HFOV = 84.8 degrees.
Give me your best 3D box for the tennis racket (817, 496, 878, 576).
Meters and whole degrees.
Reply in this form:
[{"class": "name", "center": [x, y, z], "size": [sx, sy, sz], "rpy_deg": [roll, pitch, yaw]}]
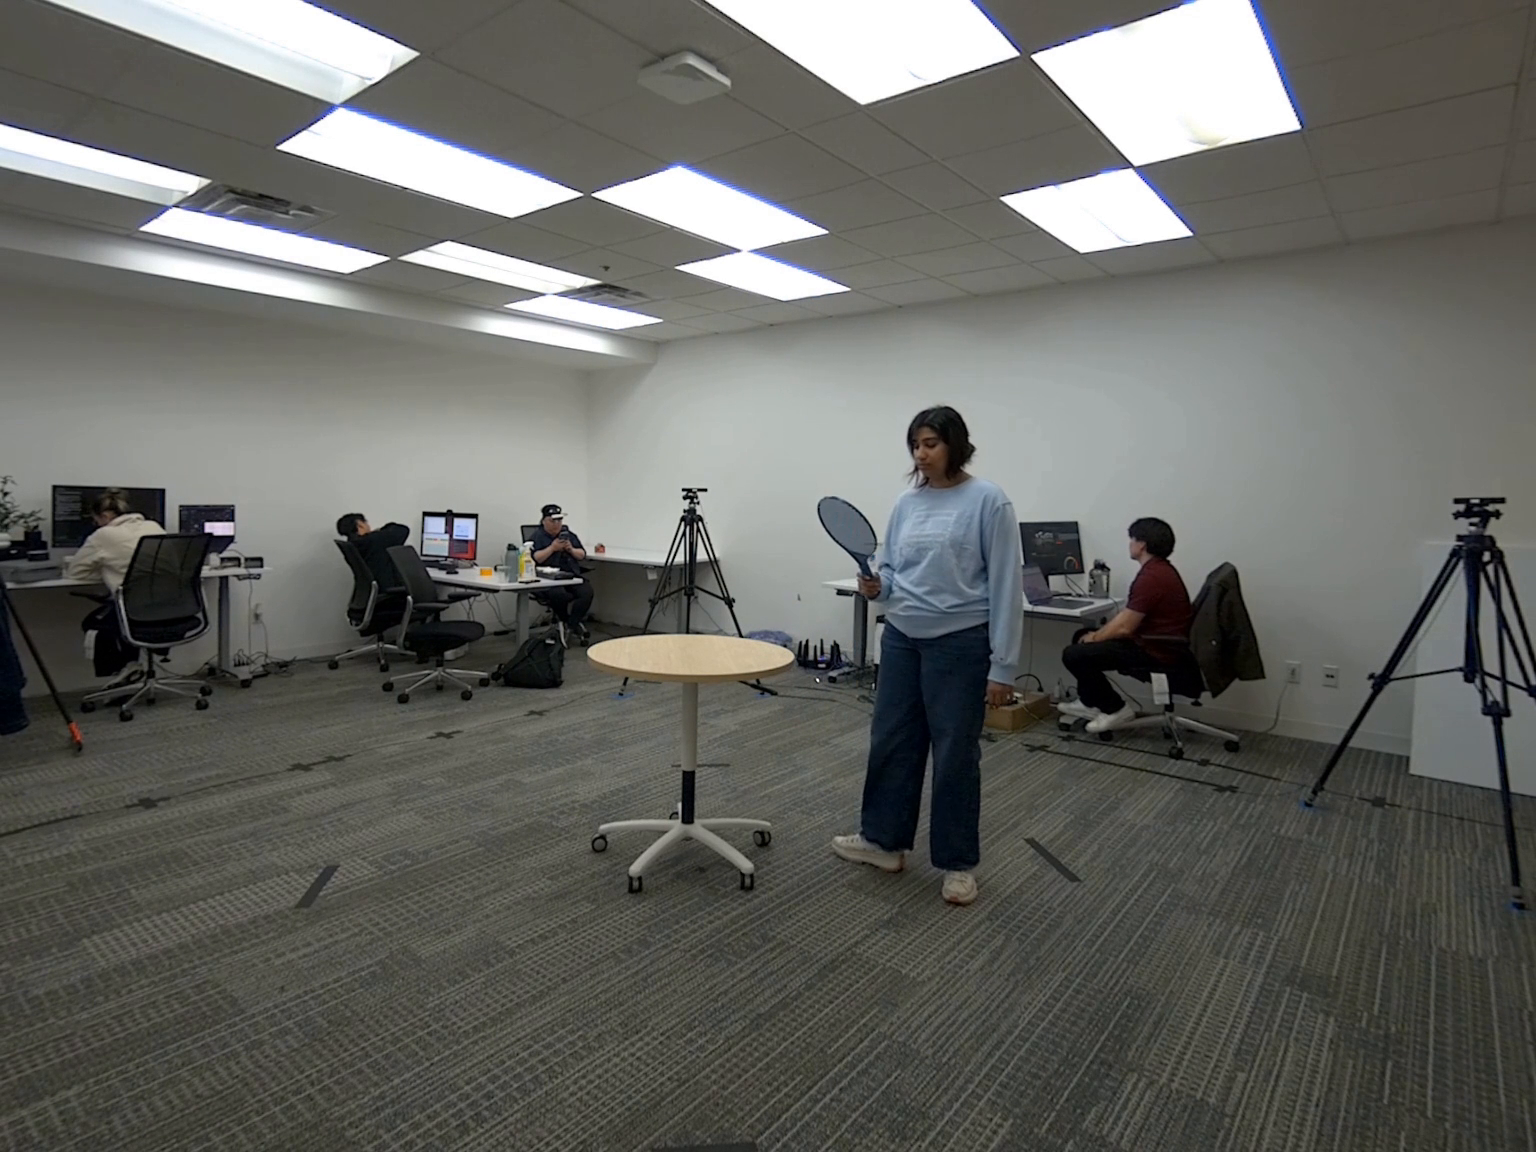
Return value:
[{"class": "tennis racket", "center": [0.277, -0.110, 2.811], "size": [0.222, 0.417, 0.032], "rpy_deg": [14, 52, 42]}]
